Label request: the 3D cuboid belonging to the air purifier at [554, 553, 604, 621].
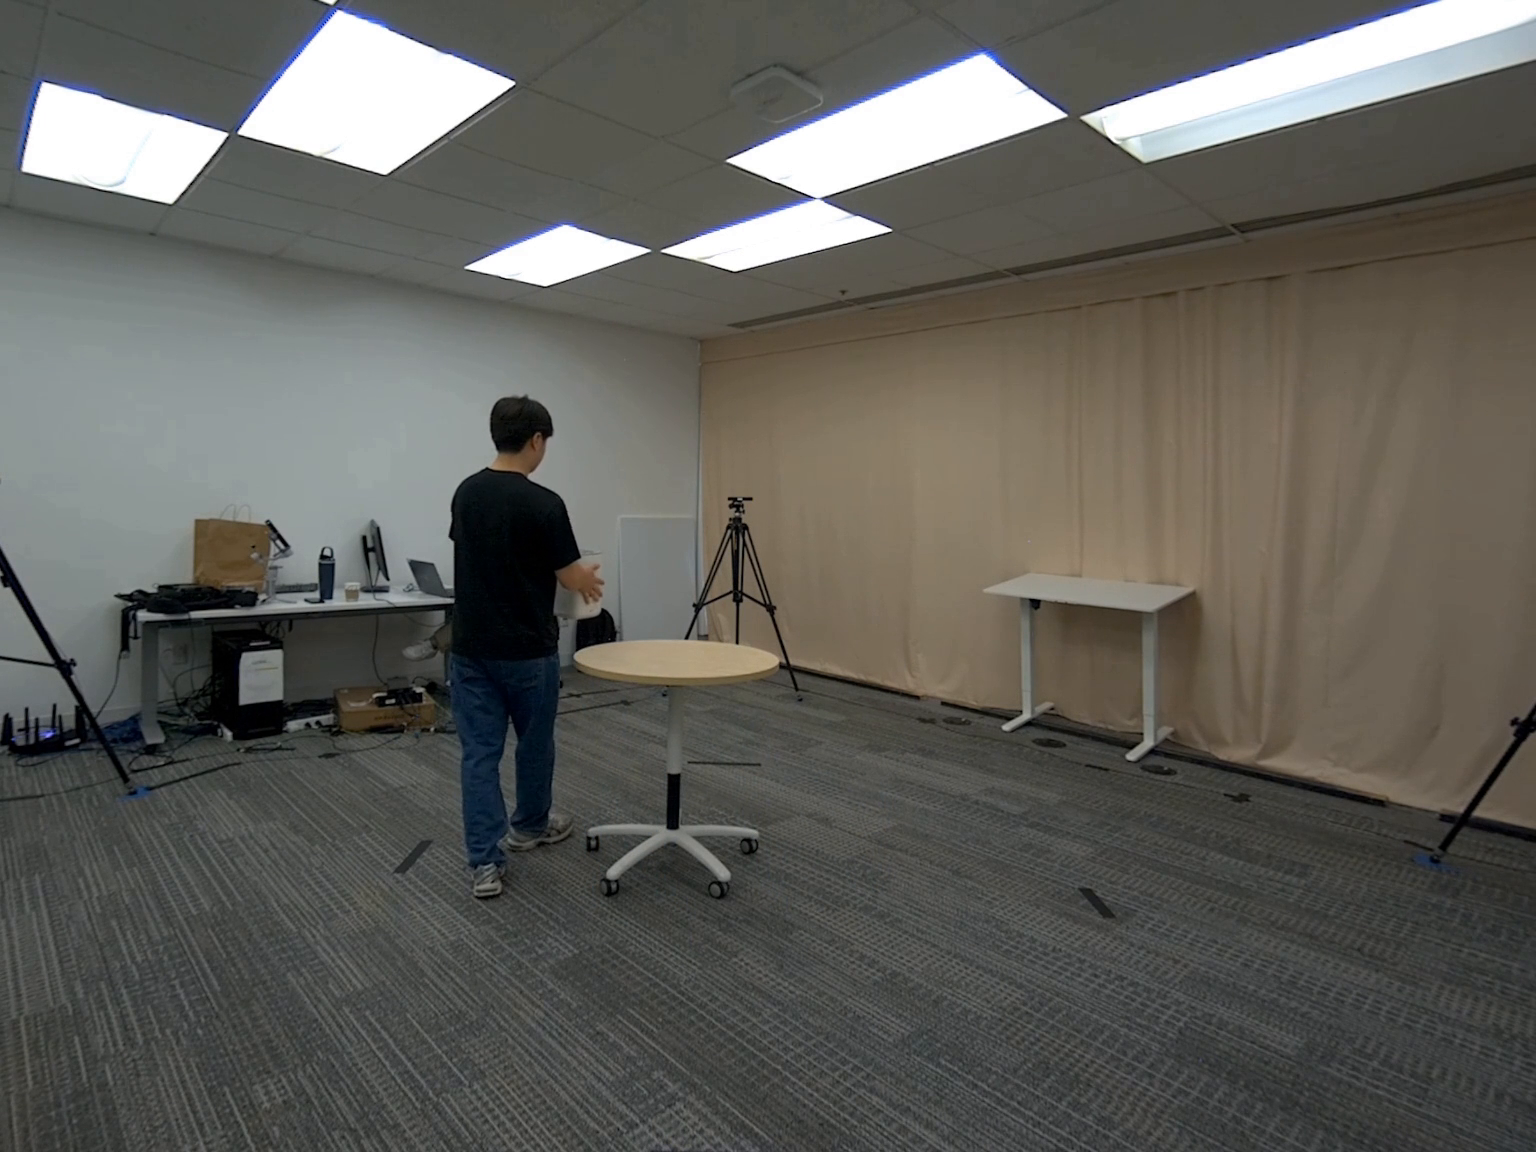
[{"bbox_3d":[-0.769,0.031,3.400,0.176,0.264,0.167,8,7,34],"label":"air purifier"}]
